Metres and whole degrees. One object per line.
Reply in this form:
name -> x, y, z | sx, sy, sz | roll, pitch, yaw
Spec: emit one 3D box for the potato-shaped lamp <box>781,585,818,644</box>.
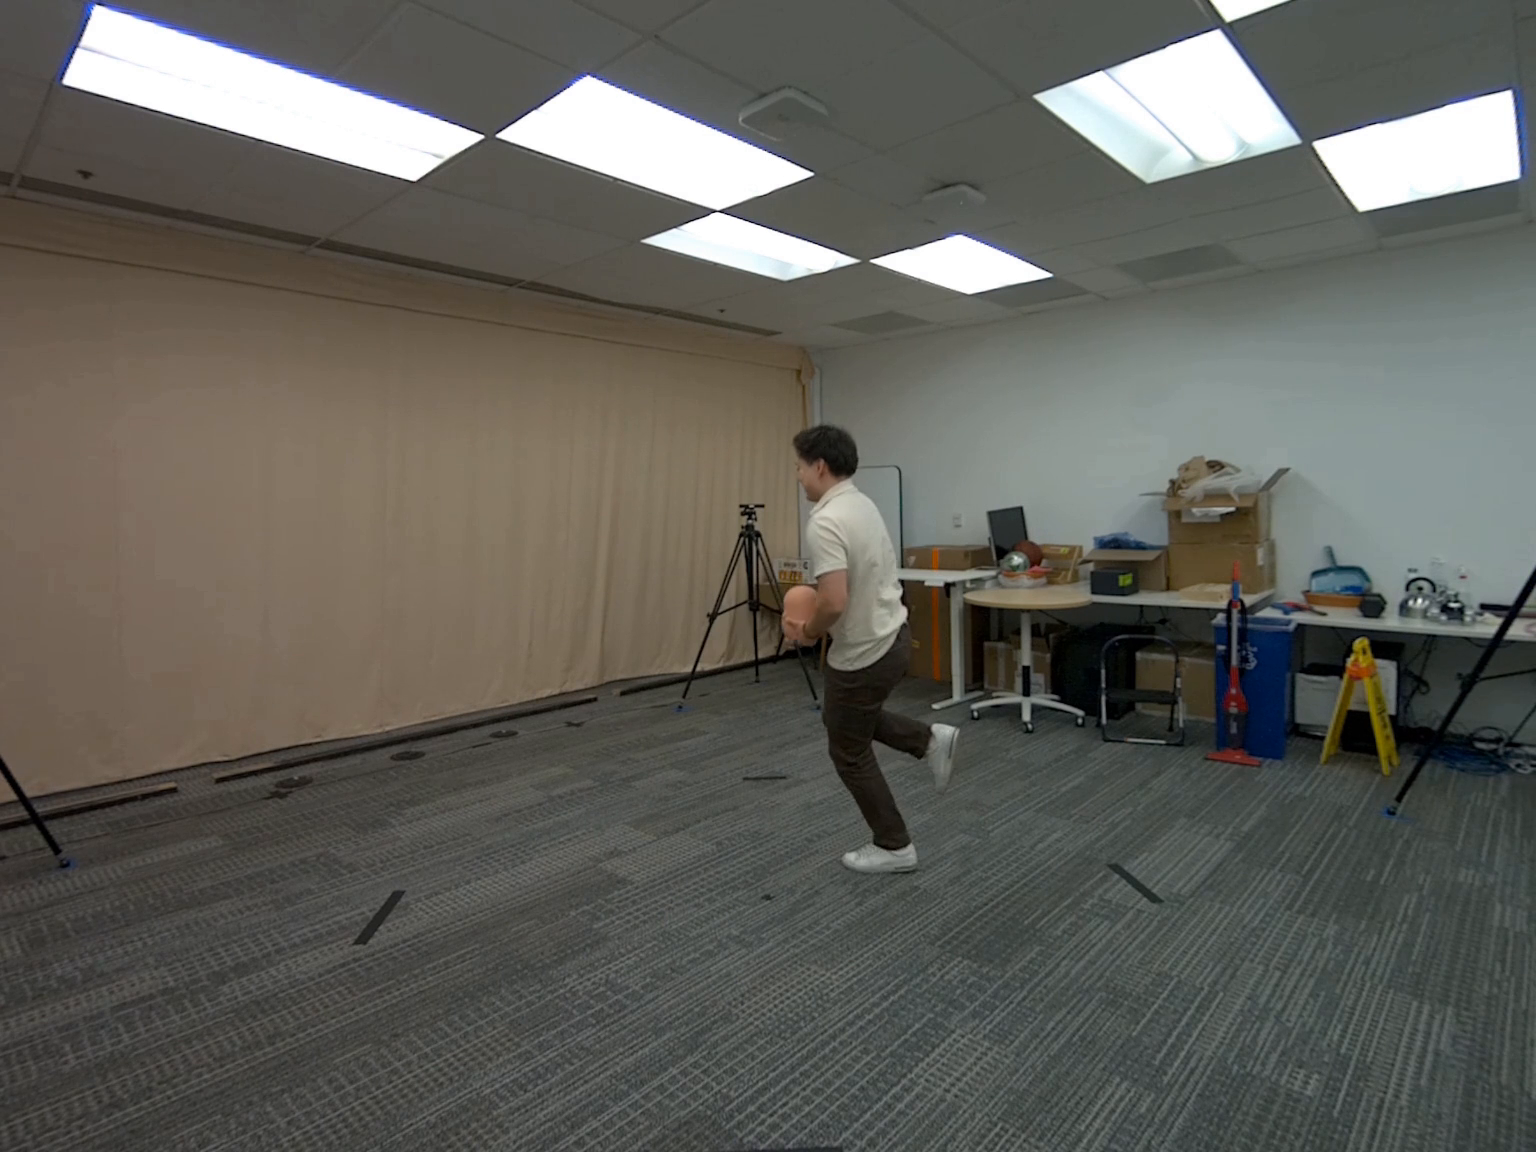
potato-shaped lamp -> 0.131, 0.119, 3.125 | 0.176, 0.198, 0.161 | -14, 3, 34
